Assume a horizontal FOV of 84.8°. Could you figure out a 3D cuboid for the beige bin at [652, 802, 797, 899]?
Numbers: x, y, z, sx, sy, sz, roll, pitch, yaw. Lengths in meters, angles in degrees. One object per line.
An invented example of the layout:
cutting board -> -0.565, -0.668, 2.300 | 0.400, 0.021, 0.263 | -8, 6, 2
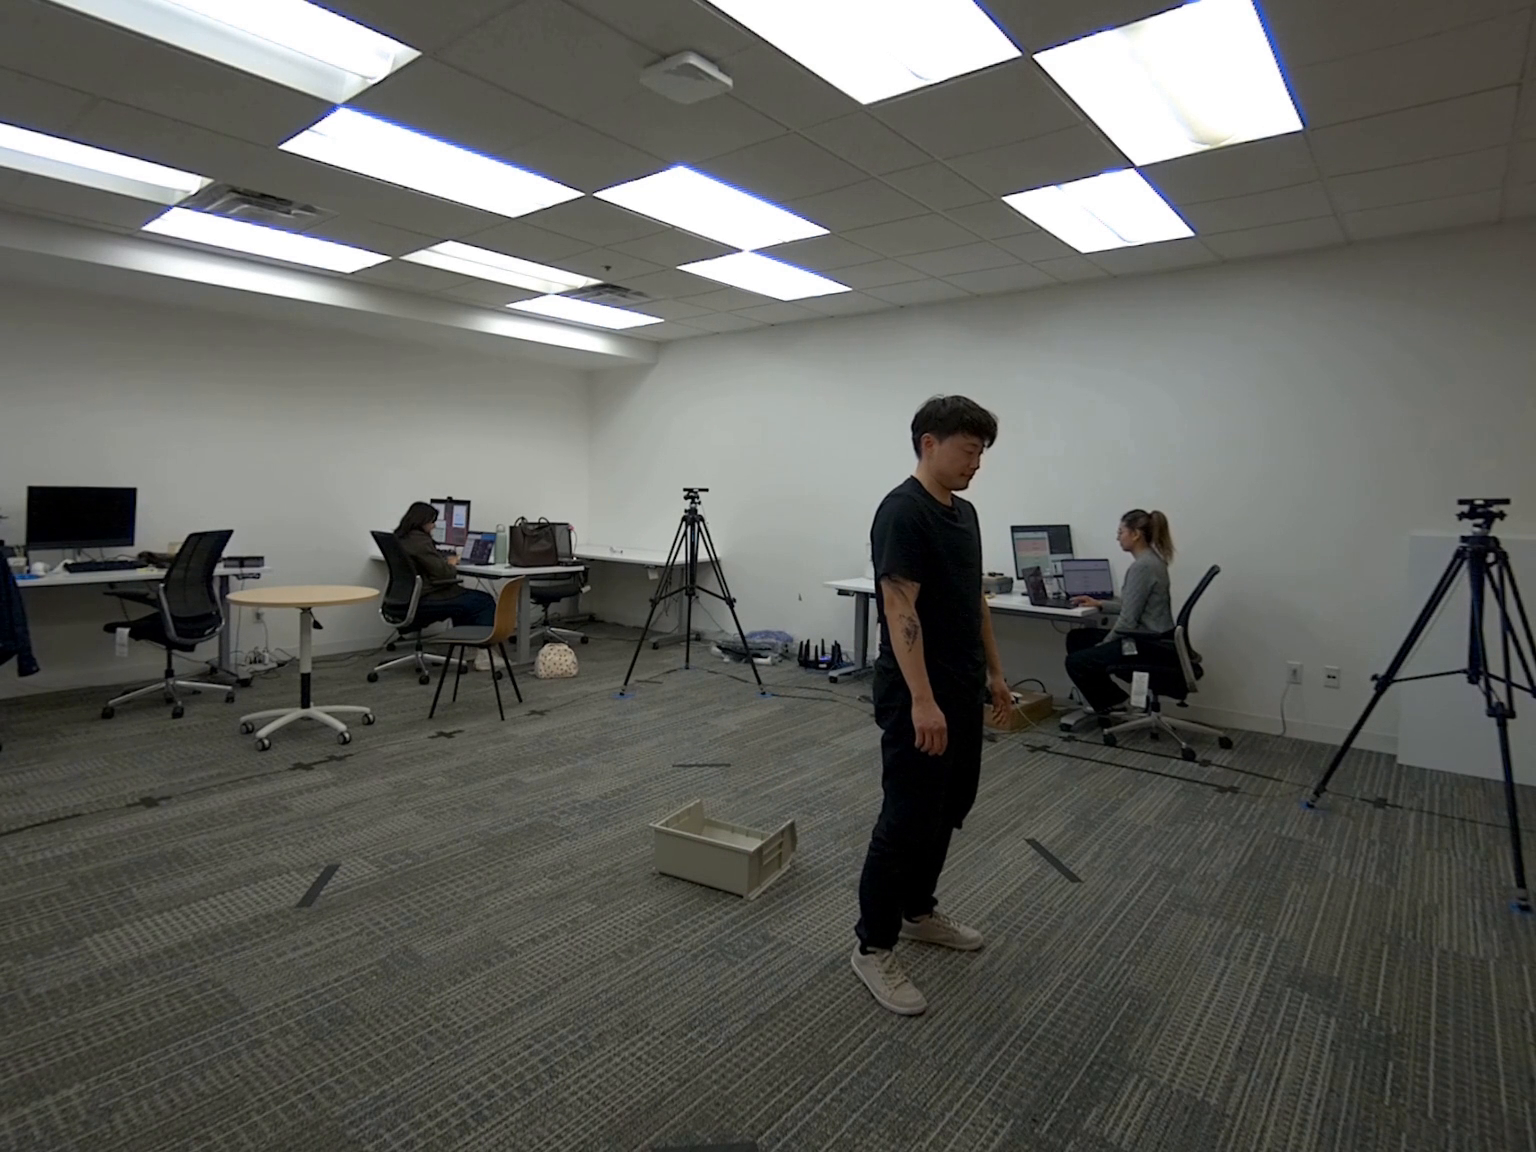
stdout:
beige bin -> -0.168, 0.982, 3.119 | 0.434, 0.188, 0.368 | 4, 7, 28
